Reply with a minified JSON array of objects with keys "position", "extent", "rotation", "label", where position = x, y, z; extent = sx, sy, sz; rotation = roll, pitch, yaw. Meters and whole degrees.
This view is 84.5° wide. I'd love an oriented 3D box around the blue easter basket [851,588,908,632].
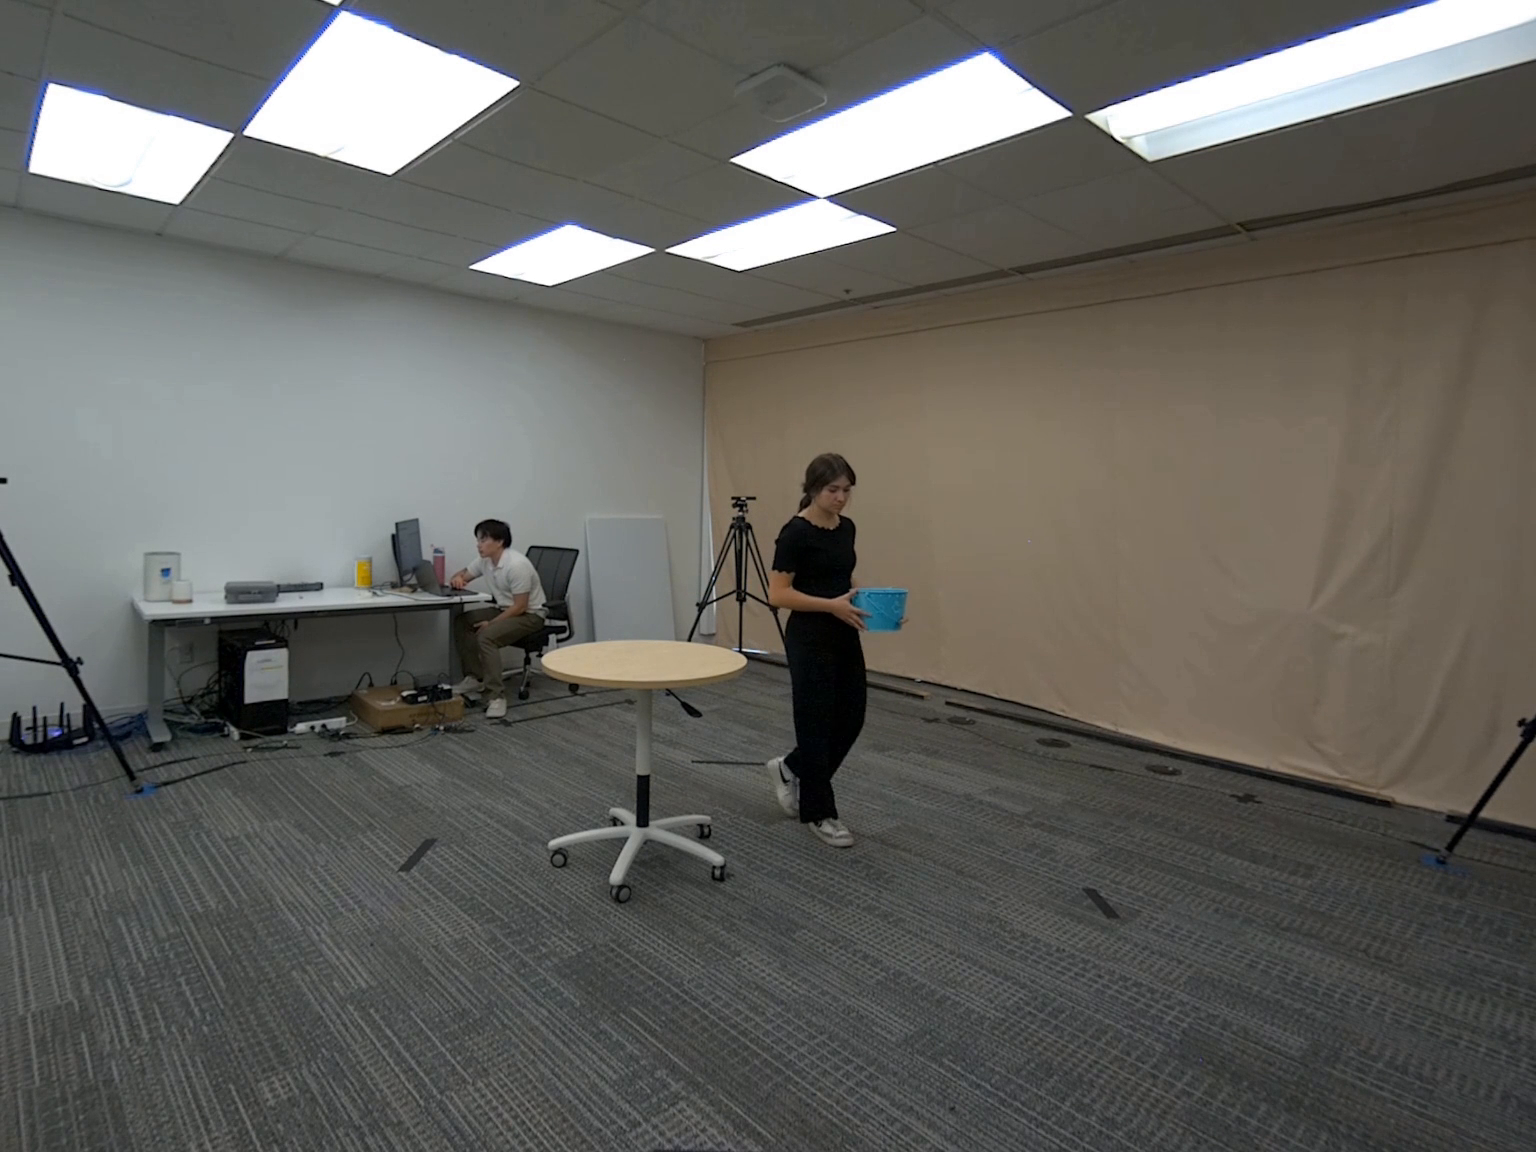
[{"position":[0.415,0.129,3.333],"extent":[0.243,0.156,0.244],"rotation":[0,1,-1],"label":"blue easter basket"}]
